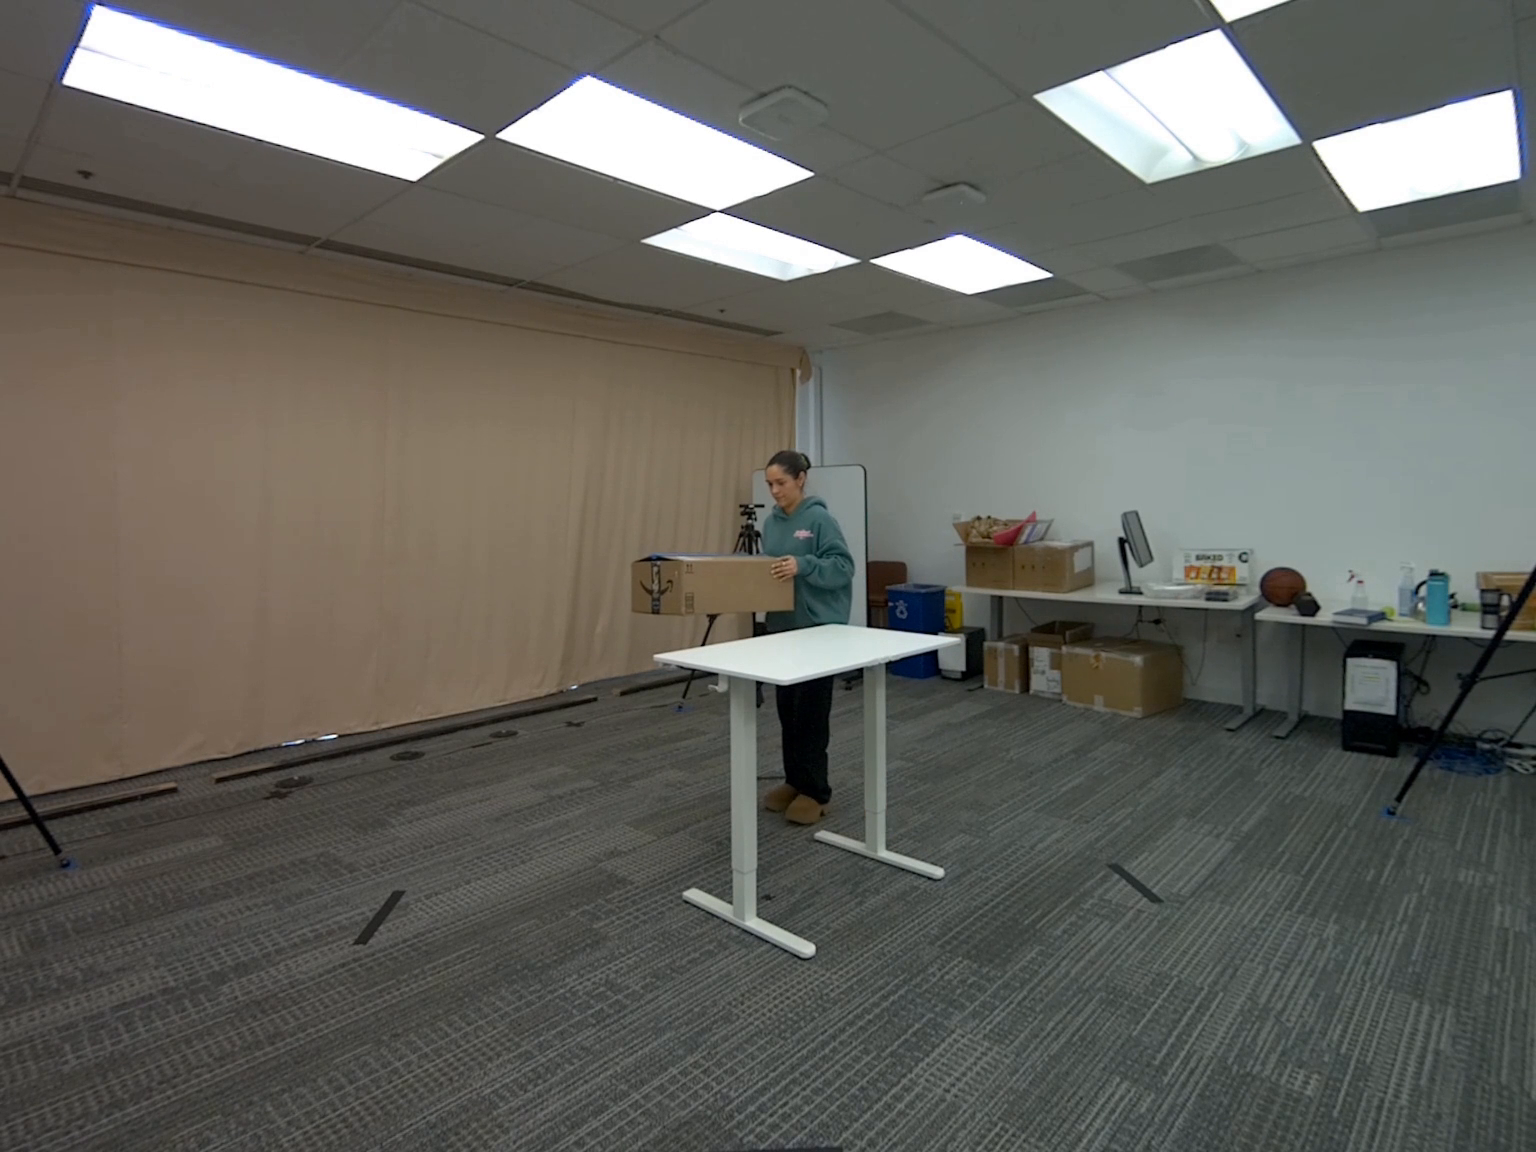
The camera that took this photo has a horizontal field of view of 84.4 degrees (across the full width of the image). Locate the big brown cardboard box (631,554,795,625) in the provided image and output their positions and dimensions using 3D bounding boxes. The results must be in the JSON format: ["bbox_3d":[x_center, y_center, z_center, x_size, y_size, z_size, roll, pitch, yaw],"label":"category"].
[{"bbox_3d":[-0.238,0.039,3.584,0.571,0.233,0.430,1,-1,-36],"label":"big brown cardboard box"}]
